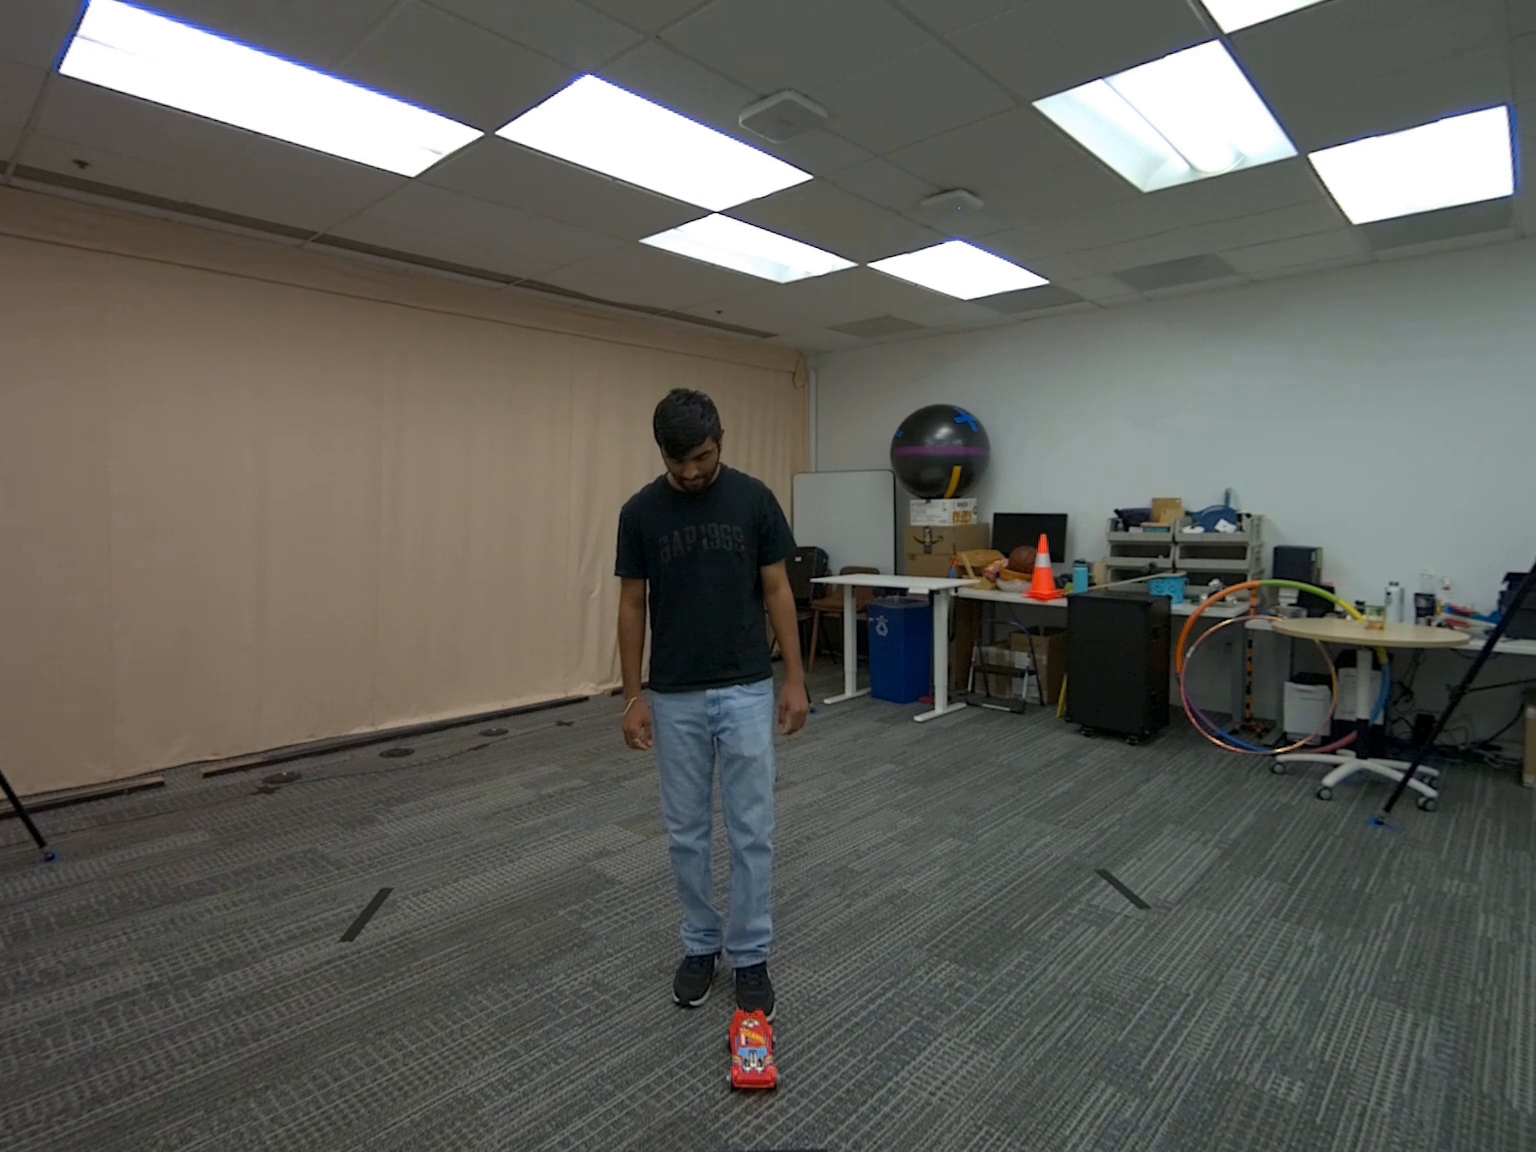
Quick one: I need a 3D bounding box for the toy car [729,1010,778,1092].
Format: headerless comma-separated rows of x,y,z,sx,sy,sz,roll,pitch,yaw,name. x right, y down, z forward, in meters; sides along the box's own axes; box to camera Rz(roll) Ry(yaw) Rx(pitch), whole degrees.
-0.040,1.177,2.113,0.130,0.082,0.257,0,17,-1,toy car
